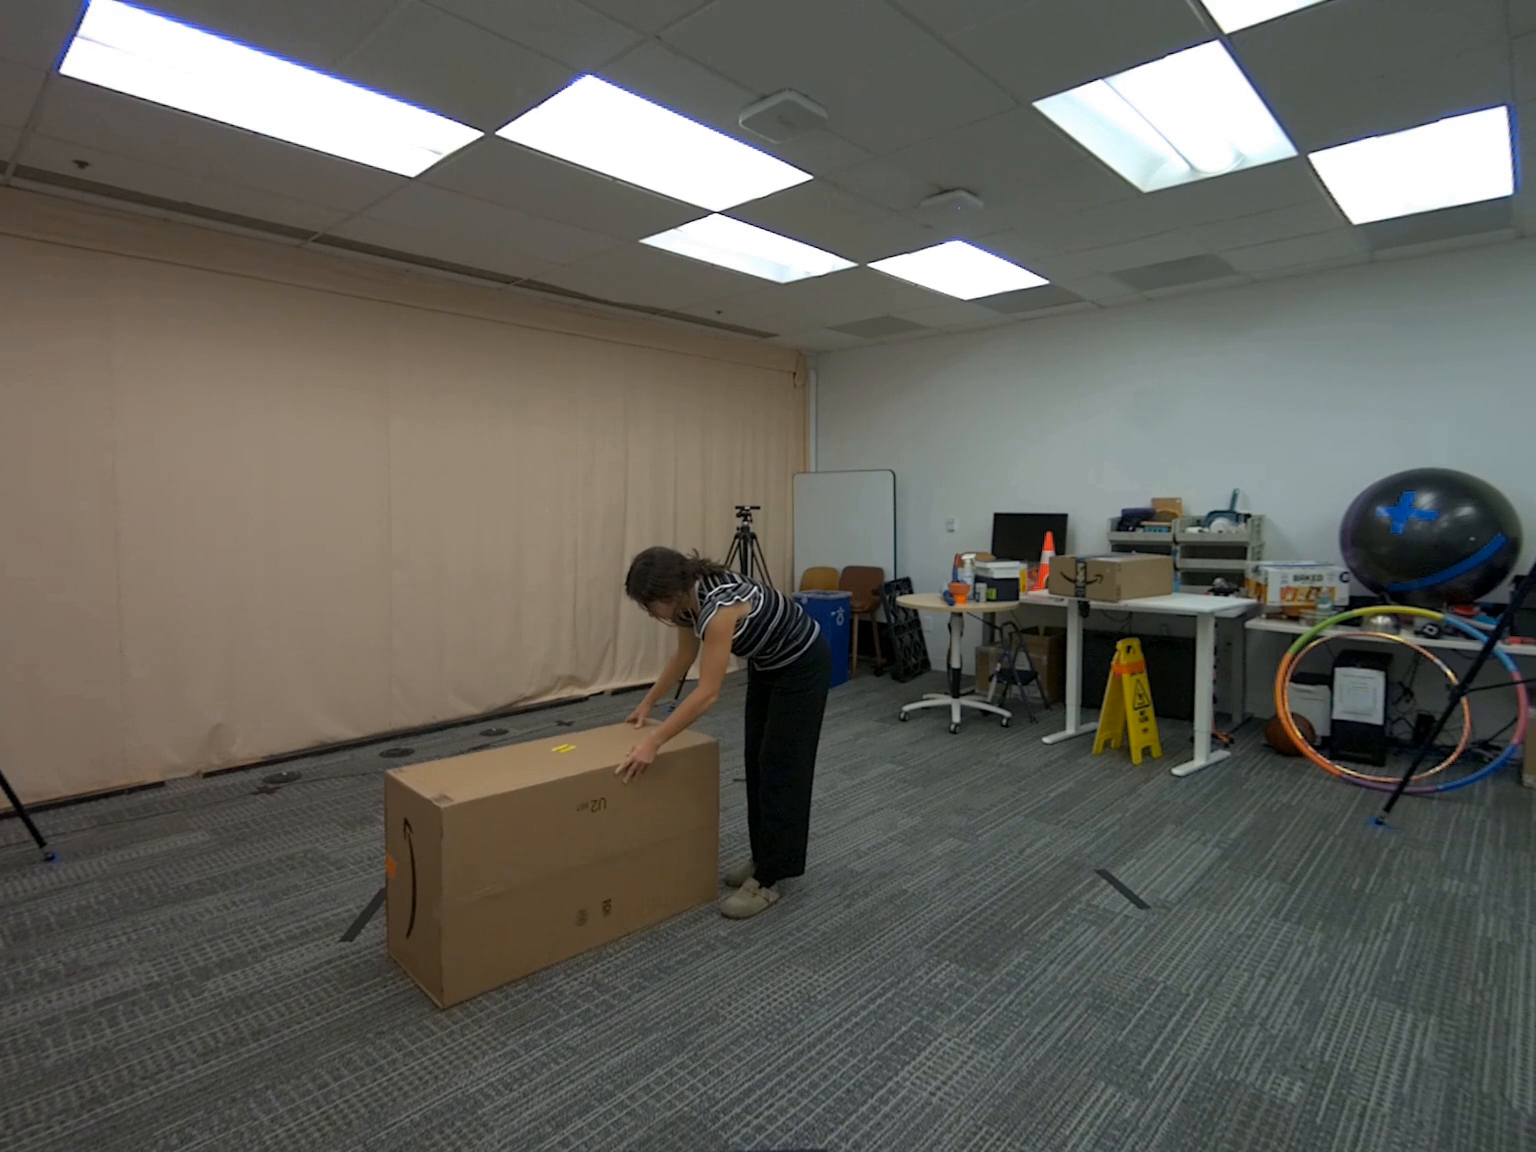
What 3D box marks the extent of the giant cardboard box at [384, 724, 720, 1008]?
[{"bbox_3d":[-0.681,0.874,2.804,0.994,0.576,0.440,-4,5,-43],"label":"giant cardboard box"}]
